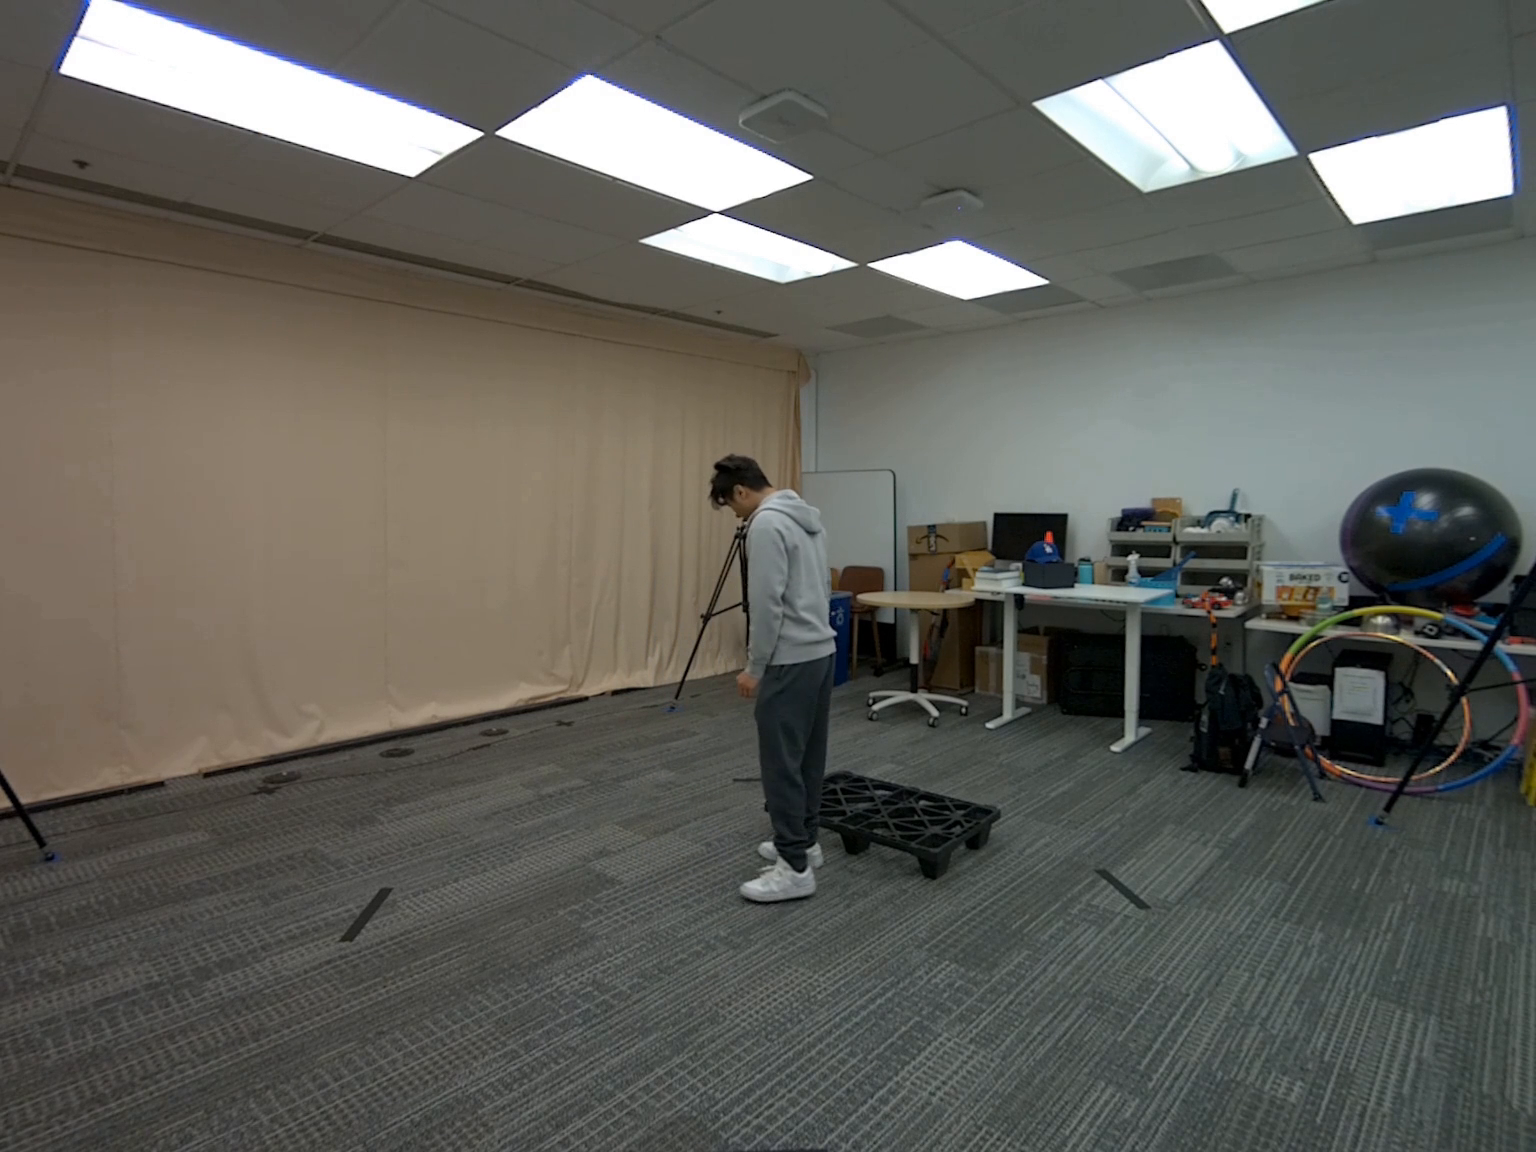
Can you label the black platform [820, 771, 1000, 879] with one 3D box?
[{"bbox_3d":[0.475,1.029,3.530,0.832,0.143,0.587,3,6,39],"label":"black platform"}]
